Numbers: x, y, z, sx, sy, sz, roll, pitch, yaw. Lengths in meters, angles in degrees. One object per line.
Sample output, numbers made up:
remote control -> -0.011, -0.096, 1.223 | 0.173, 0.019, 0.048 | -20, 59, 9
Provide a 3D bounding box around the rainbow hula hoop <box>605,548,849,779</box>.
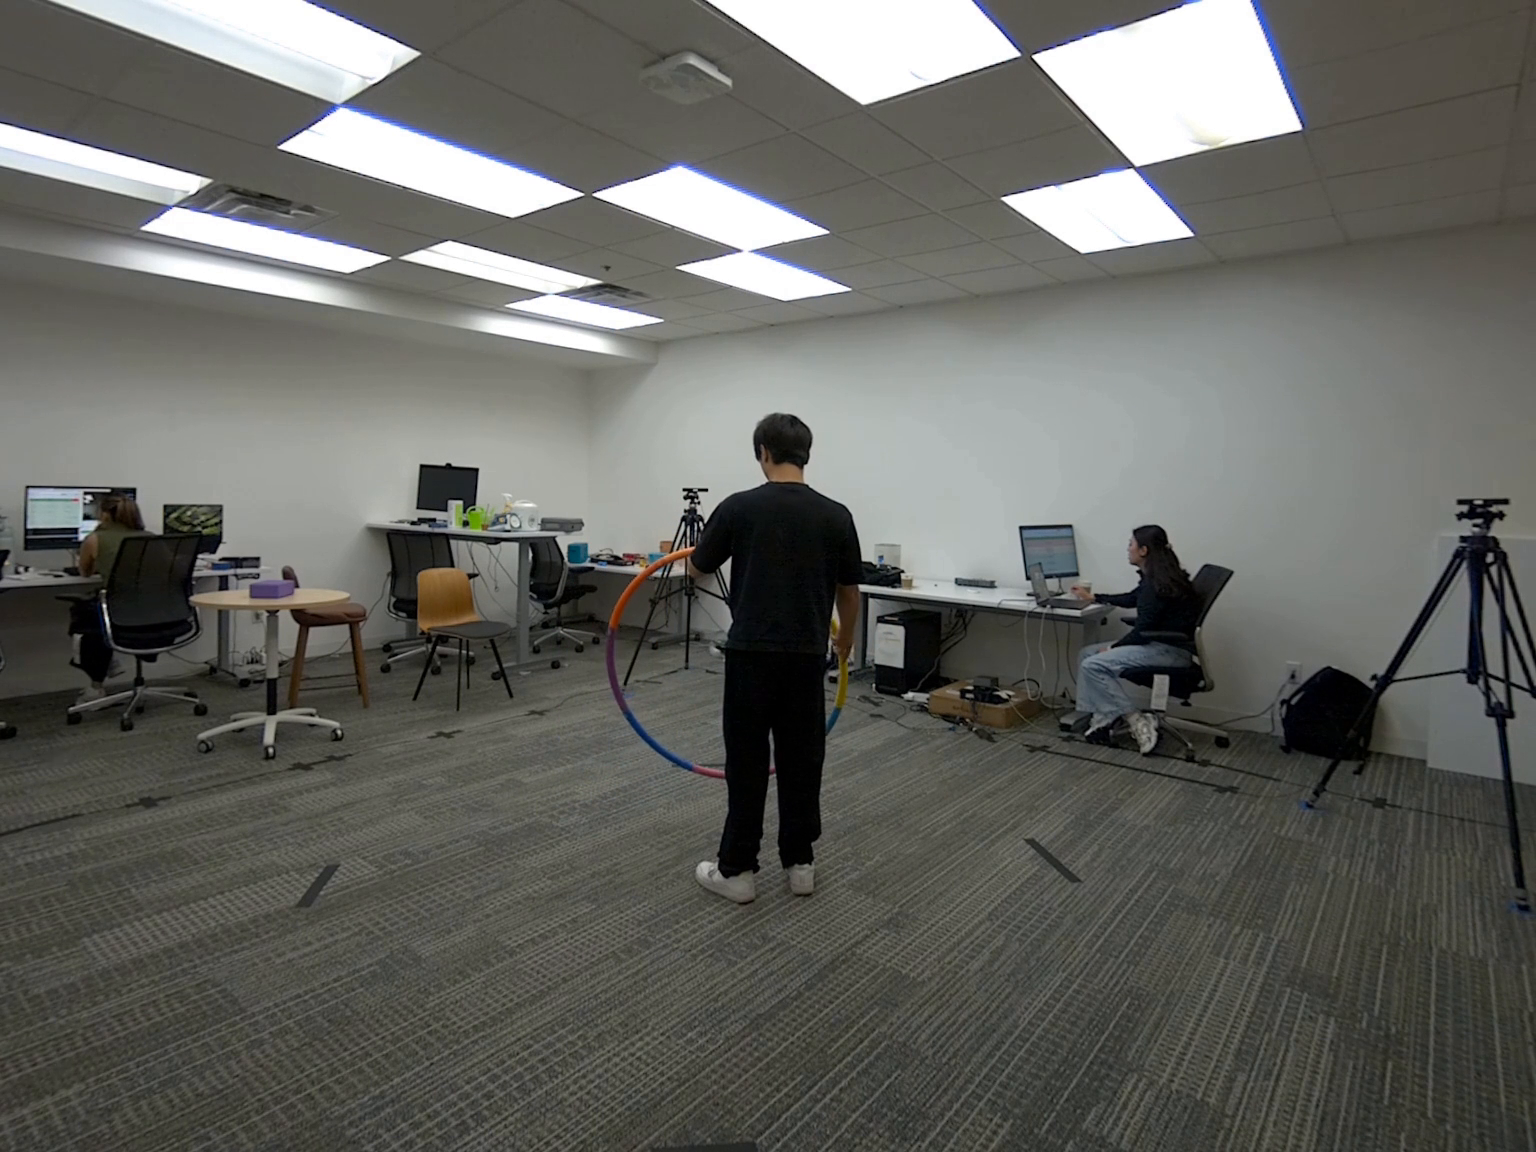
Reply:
rainbow hula hoop -> -0.191, 0.352, 3.396 | 0.991, 0.967, 0.035 | 2, 12, 11
